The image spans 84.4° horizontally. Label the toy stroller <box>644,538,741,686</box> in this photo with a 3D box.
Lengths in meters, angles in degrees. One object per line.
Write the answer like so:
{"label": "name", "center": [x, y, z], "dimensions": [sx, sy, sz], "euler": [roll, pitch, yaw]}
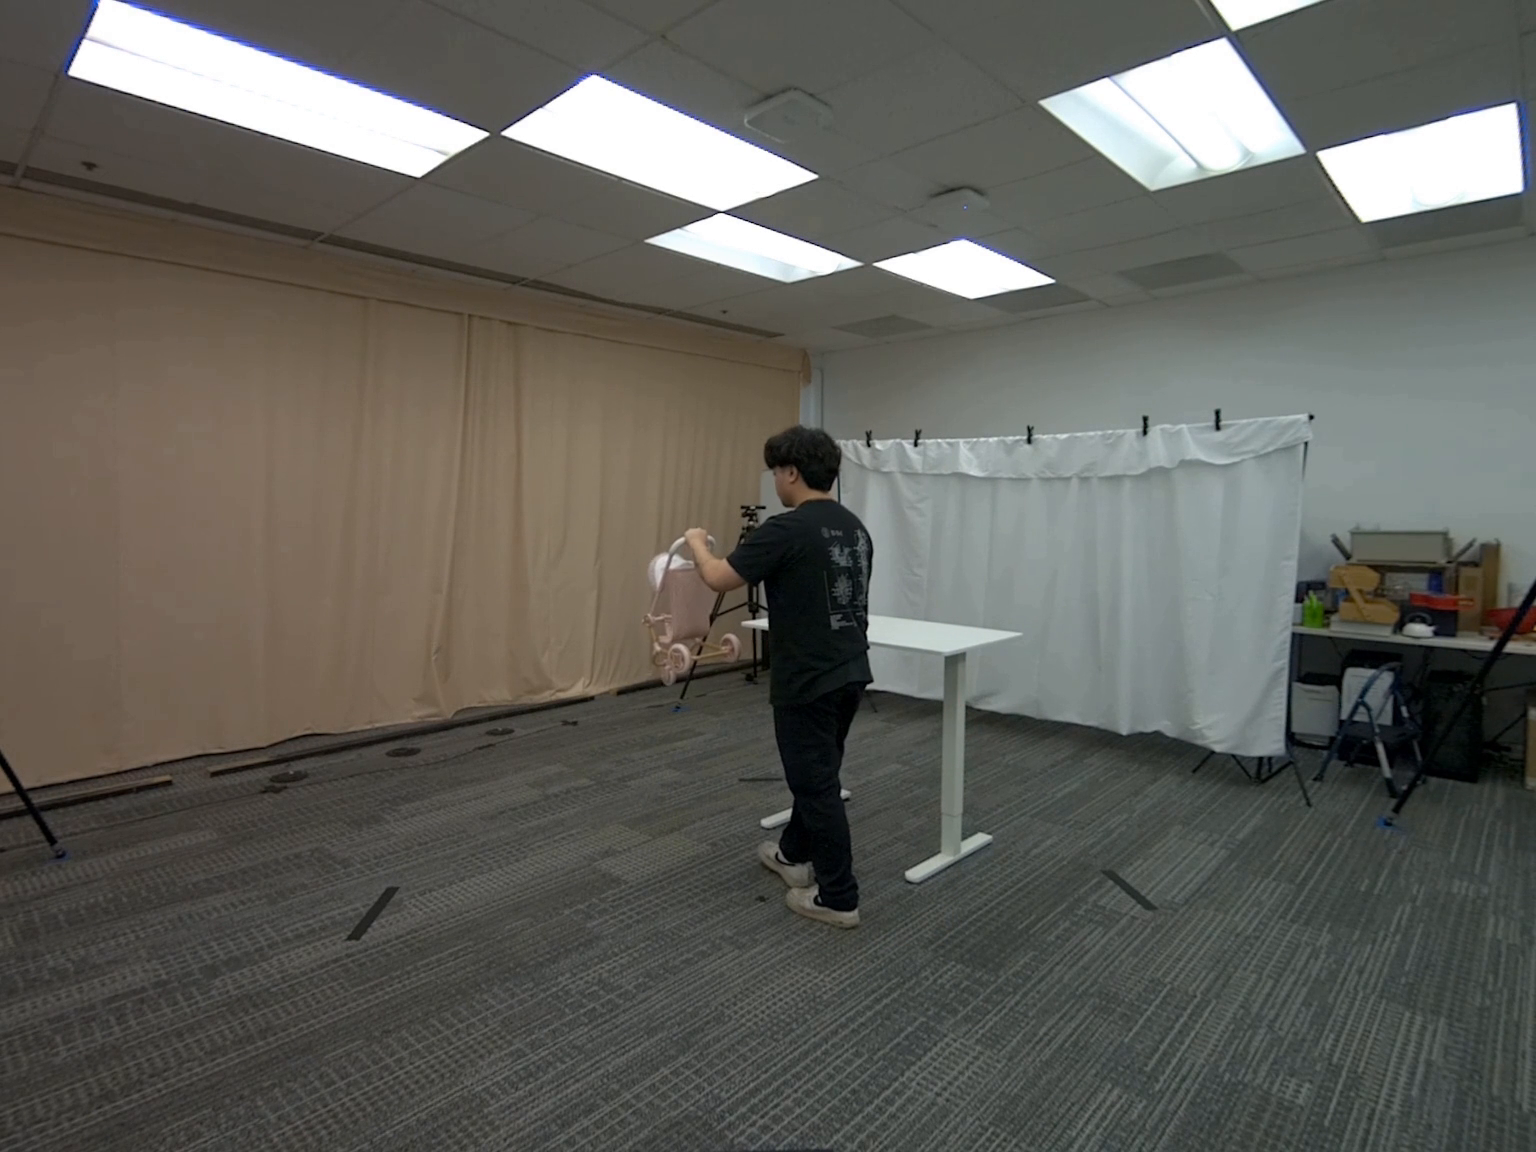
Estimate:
{"label": "toy stroller", "center": [-0.322, 0.138, 3.160], "dimensions": [0.273, 0.536, 0.350], "euler": [-7, -4, -39]}
